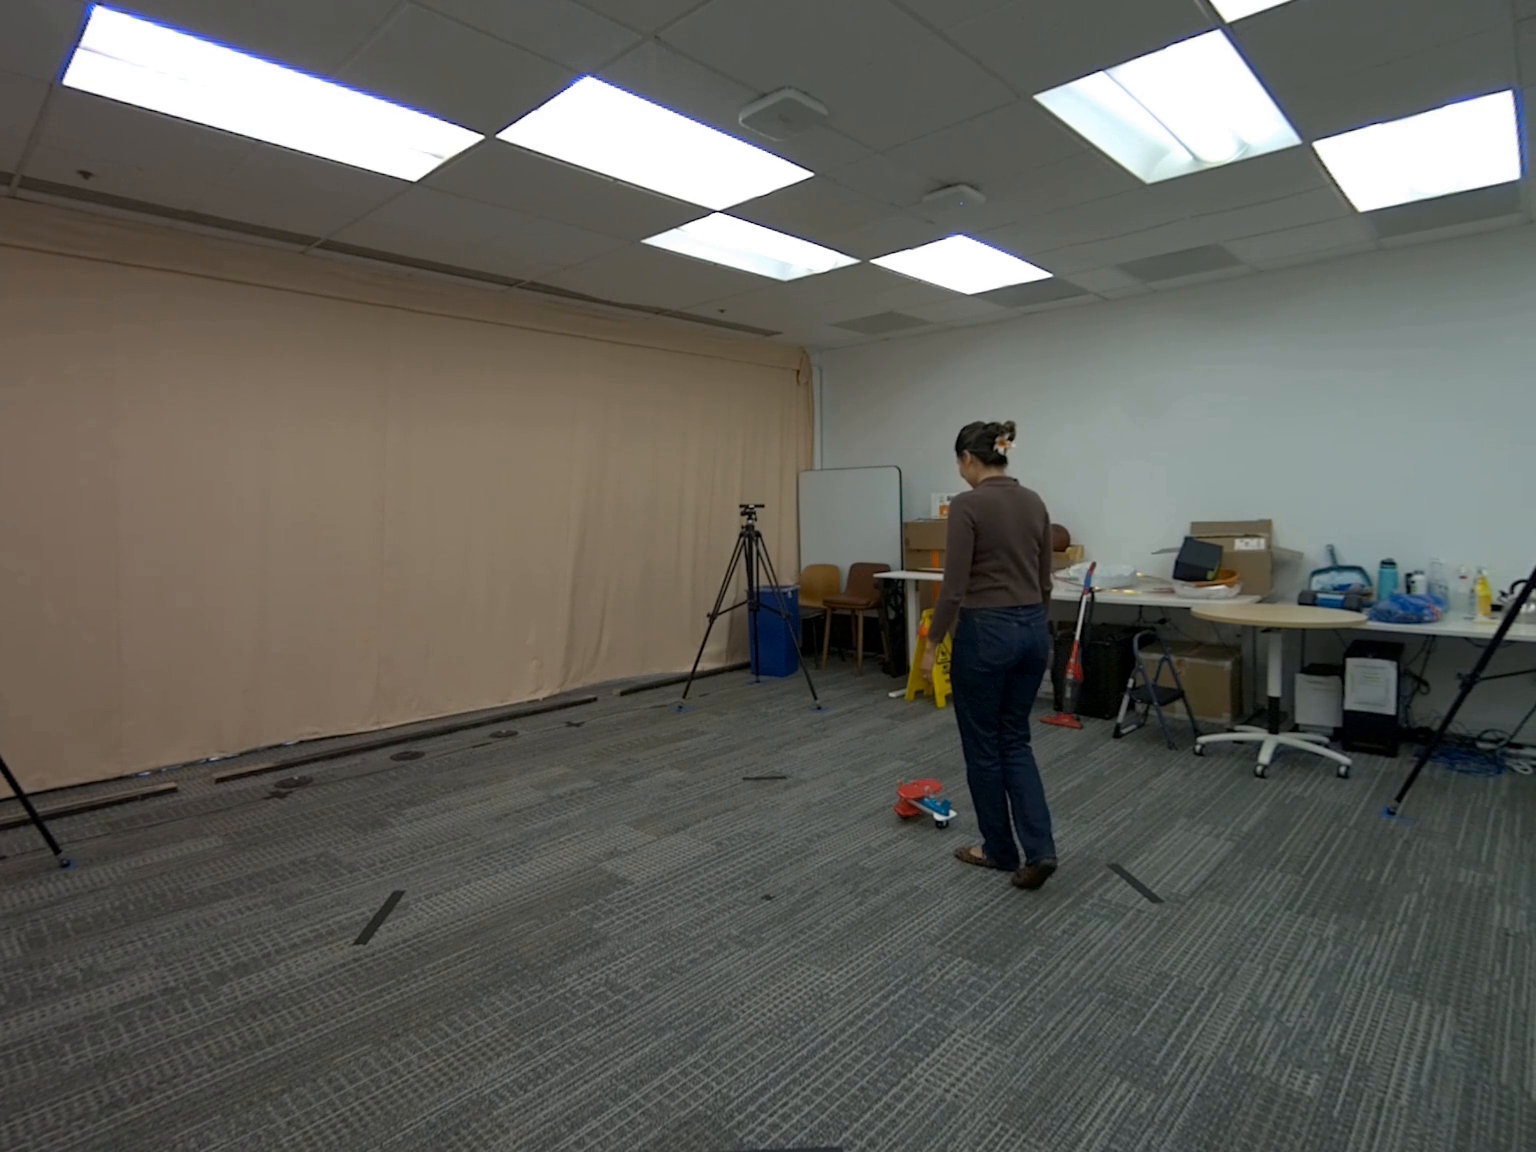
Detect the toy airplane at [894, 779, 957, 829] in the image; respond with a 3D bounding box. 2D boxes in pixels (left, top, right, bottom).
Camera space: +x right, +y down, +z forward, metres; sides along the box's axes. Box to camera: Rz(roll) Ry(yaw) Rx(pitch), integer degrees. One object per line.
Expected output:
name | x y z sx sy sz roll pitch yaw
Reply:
toy airplane | 0.698 0.993 3.683 0.265 0.156 0.245 0 4 24
